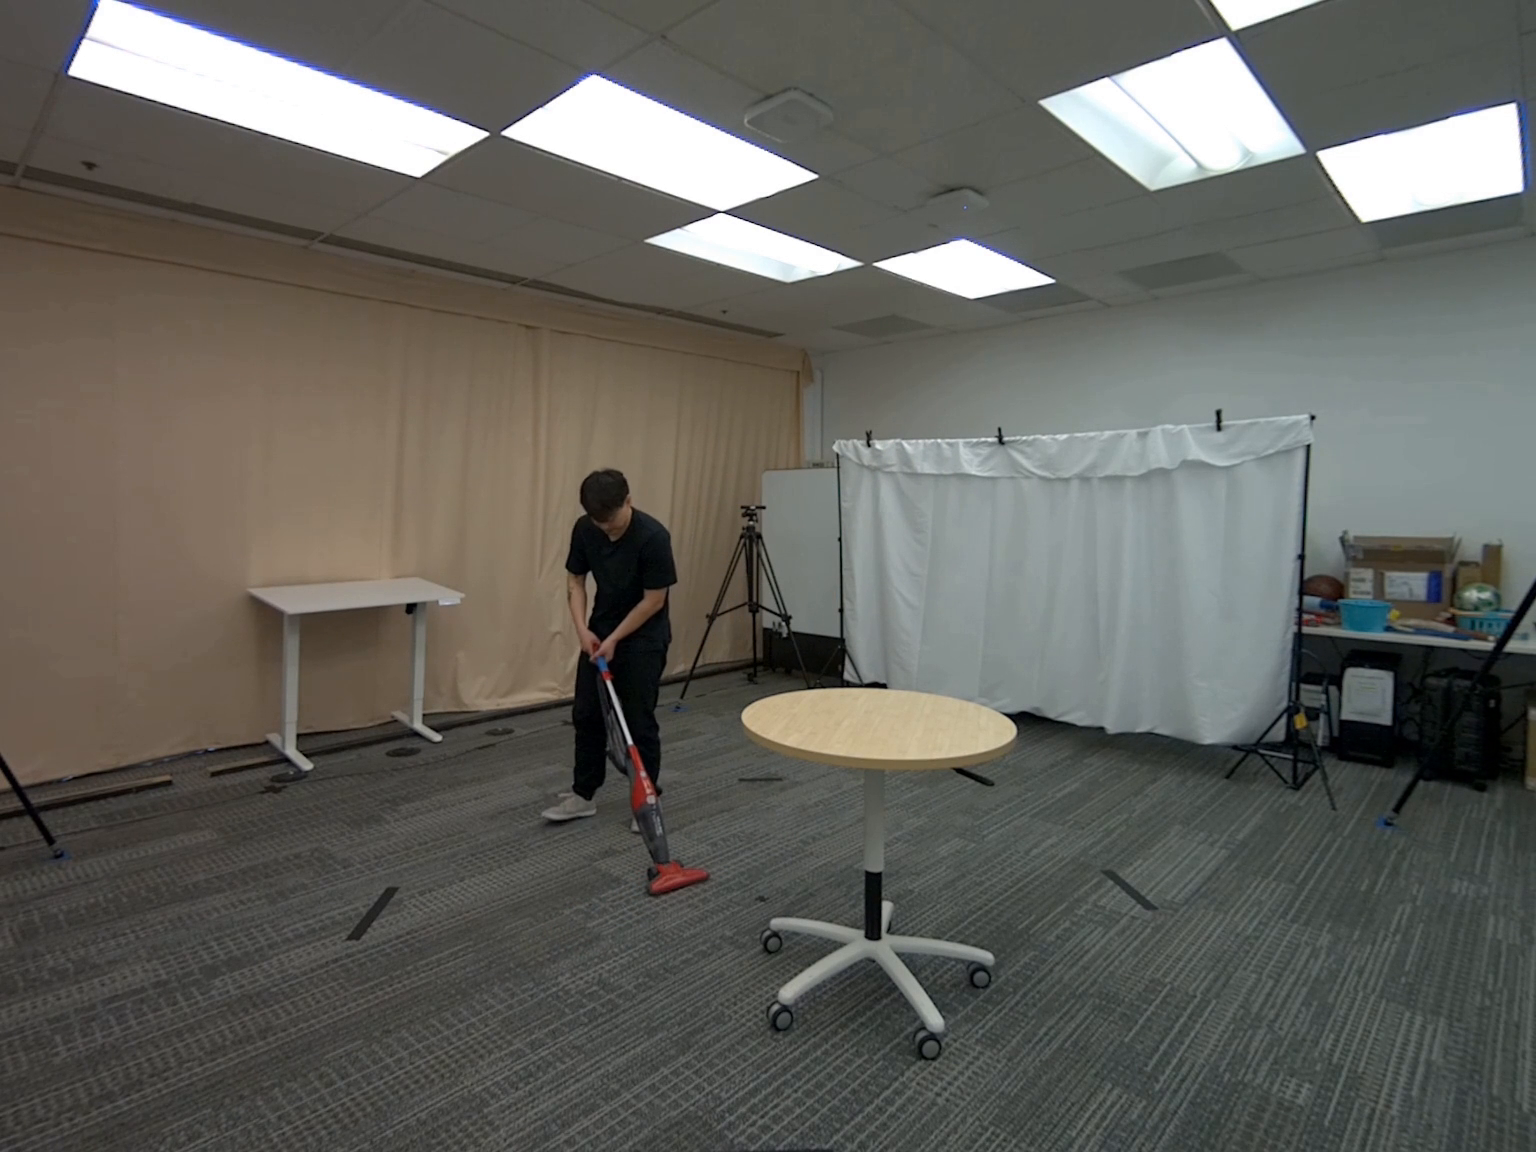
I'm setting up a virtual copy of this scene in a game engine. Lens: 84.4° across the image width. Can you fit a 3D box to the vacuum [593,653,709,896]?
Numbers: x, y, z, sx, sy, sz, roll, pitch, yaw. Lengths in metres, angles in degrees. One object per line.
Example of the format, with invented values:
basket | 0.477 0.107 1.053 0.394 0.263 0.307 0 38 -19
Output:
vacuum | -0.557 0.717 3.367 0.245 1.077 0.144 -4 -37 -36
